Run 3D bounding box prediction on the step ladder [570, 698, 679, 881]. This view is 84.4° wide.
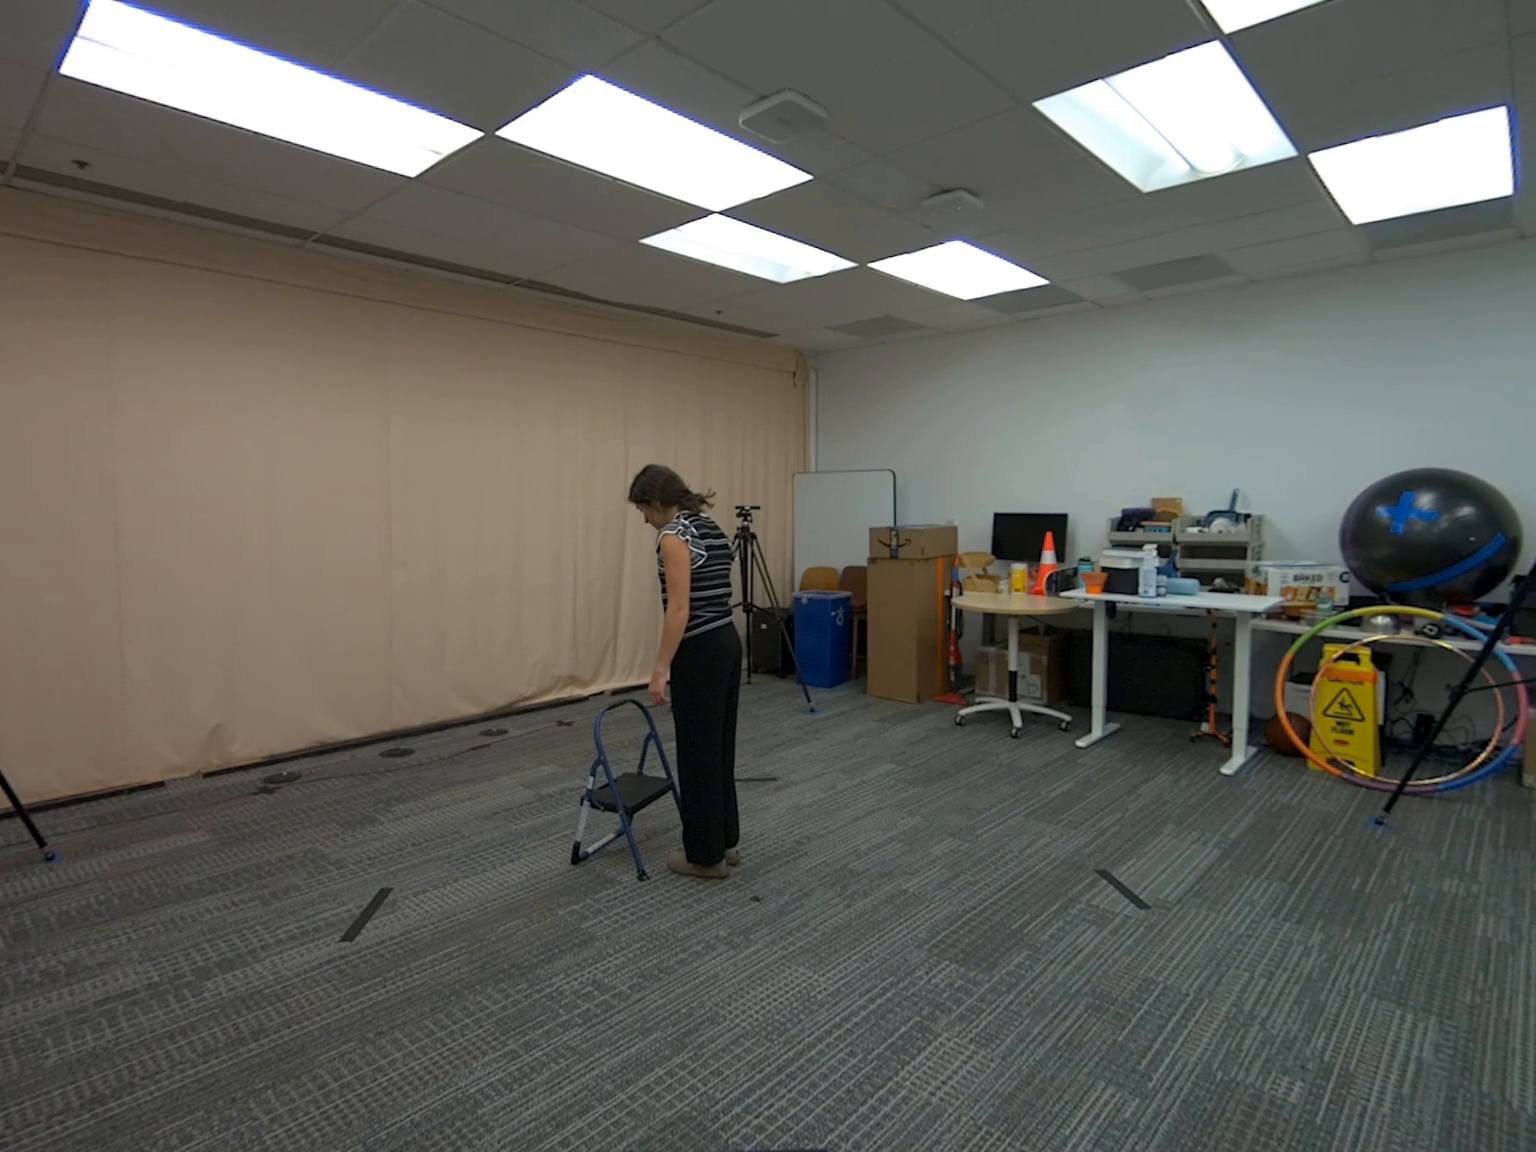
[{"bbox_3d":[-0.542,0.815,3.385,0.358,0.605,0.421,1,3,24],"label":"step ladder"}]
